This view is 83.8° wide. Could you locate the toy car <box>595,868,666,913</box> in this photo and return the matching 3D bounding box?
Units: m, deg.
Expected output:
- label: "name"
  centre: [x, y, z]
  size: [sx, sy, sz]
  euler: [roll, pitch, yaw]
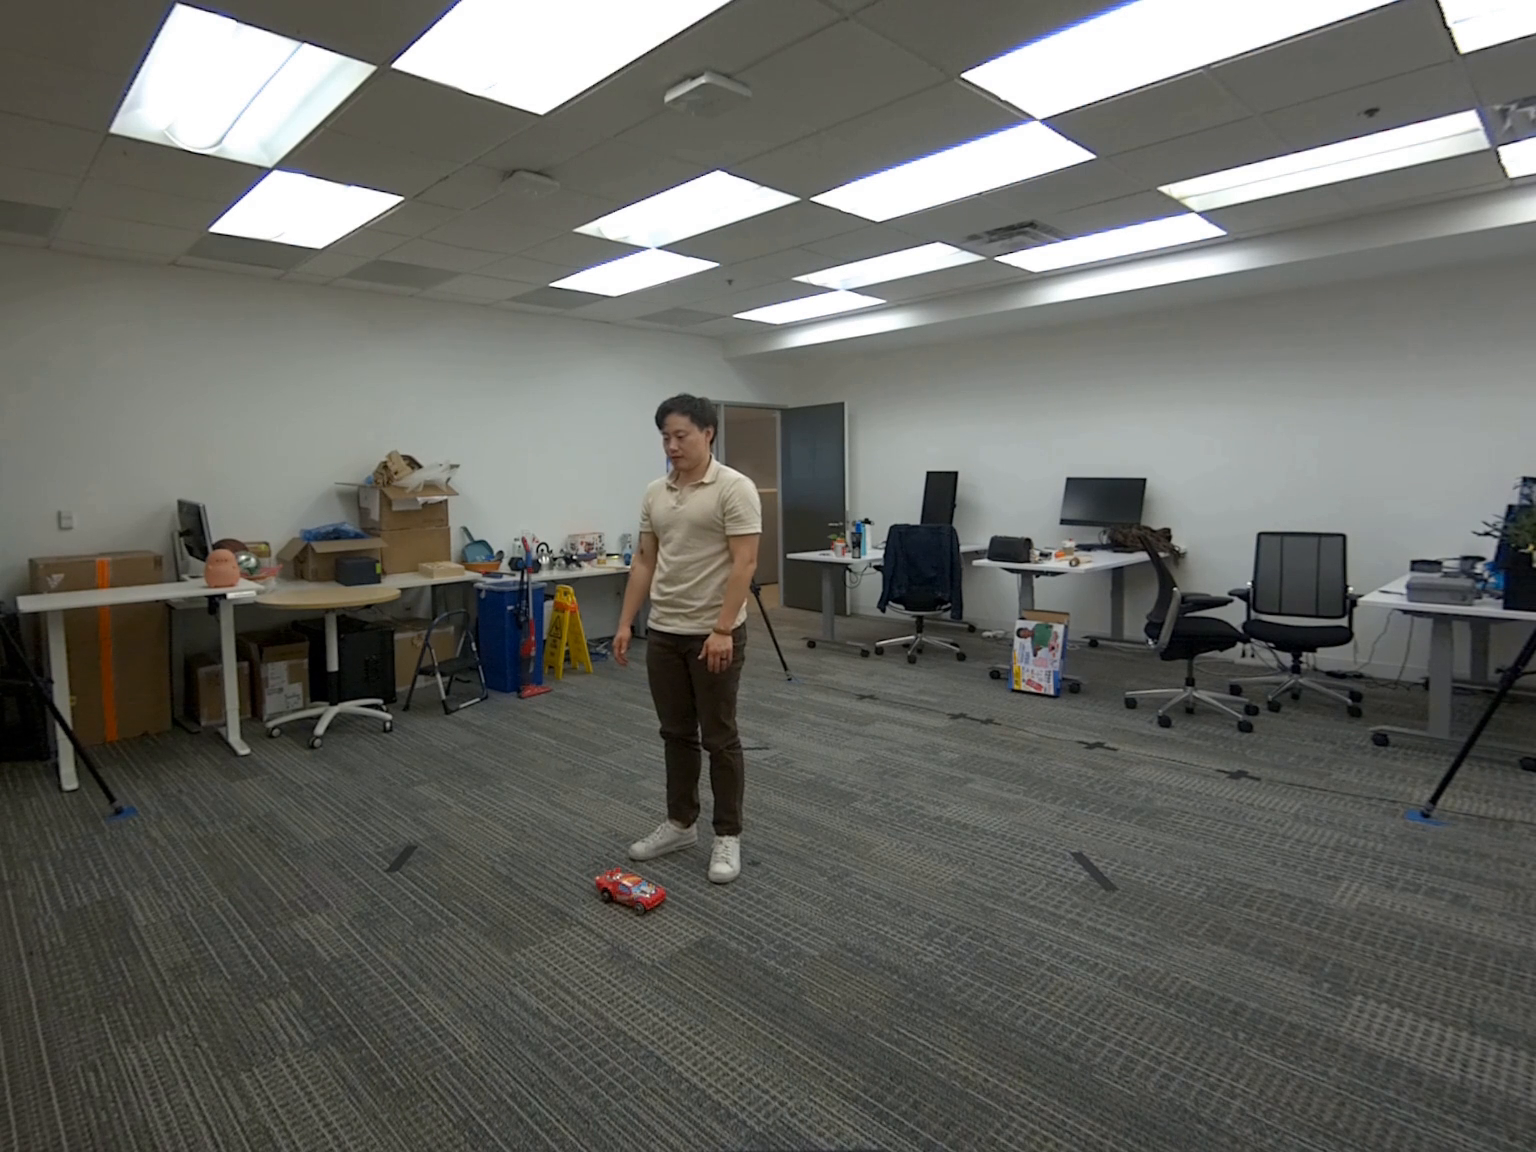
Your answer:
- label: "toy car"
  centre: [-0.460, 1.047, 2.850]
  size: [0.263, 0.082, 0.127]
  euler: [15, 14, 32]
